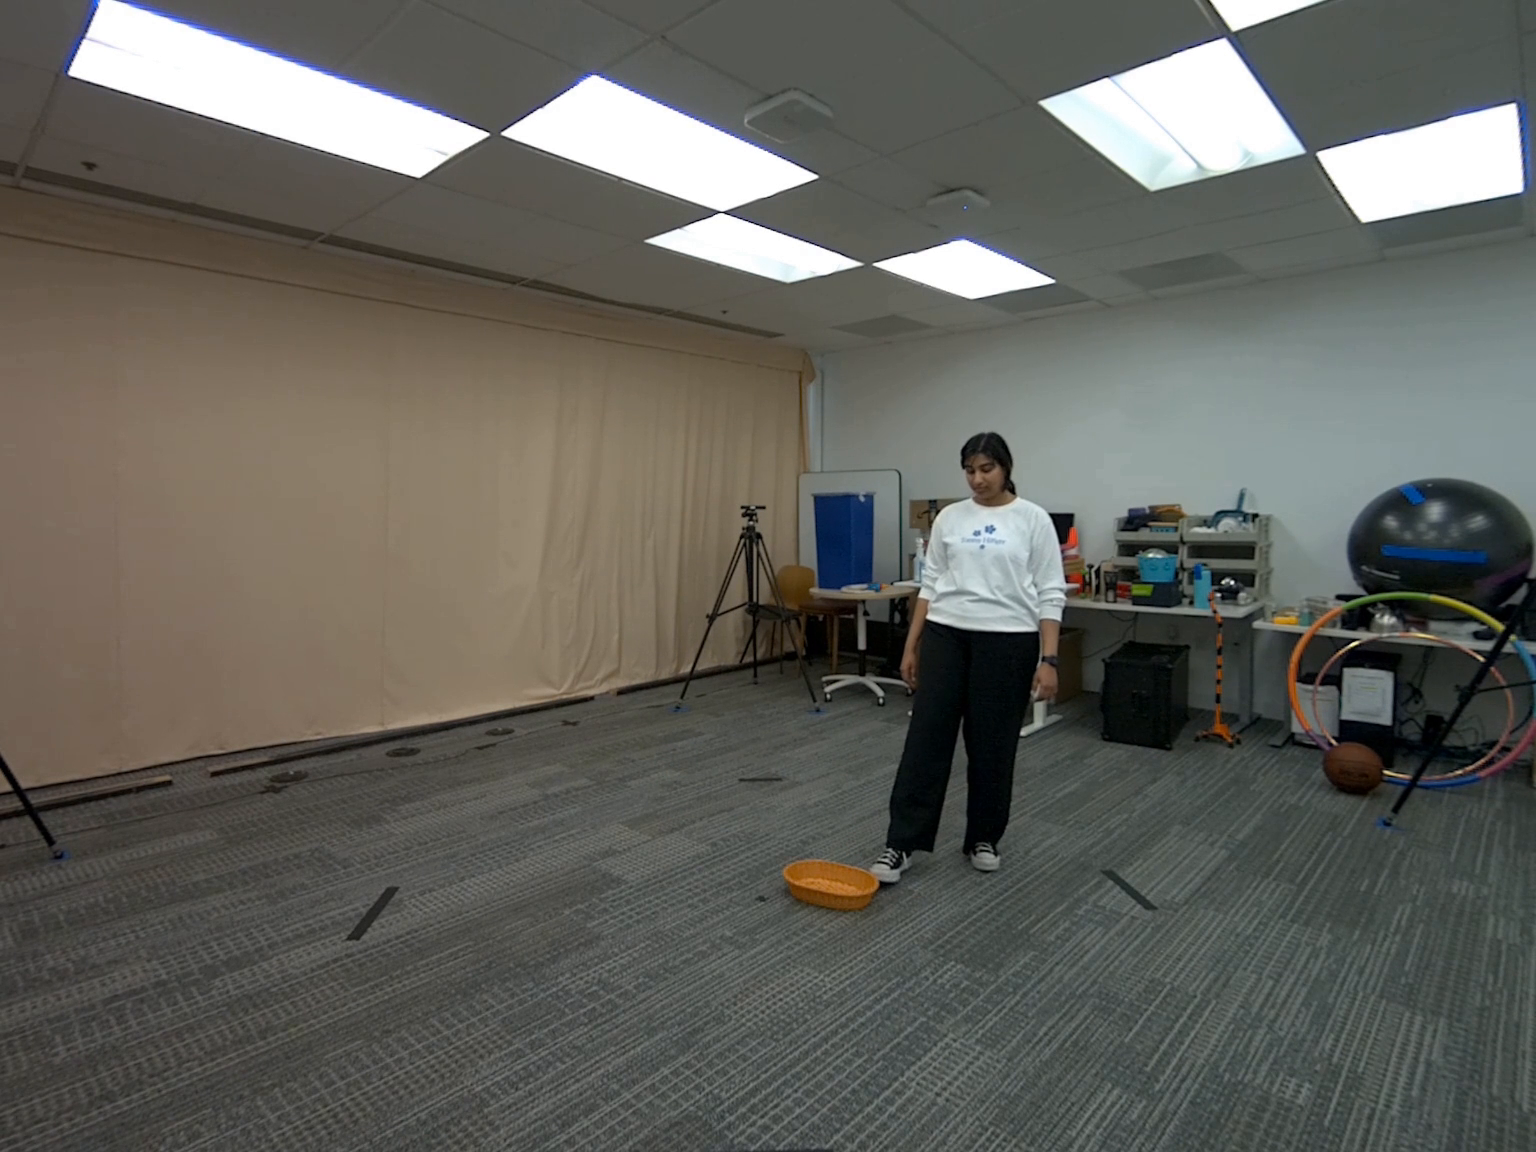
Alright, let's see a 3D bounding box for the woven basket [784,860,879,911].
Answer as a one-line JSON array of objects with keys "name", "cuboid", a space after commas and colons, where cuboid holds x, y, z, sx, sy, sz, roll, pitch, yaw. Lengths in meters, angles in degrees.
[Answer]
[{"name": "woven basket", "cuboid": [0.228, 1.100, 3.005, 0.360, 0.073, 0.245, 2, 4, 30]}]
